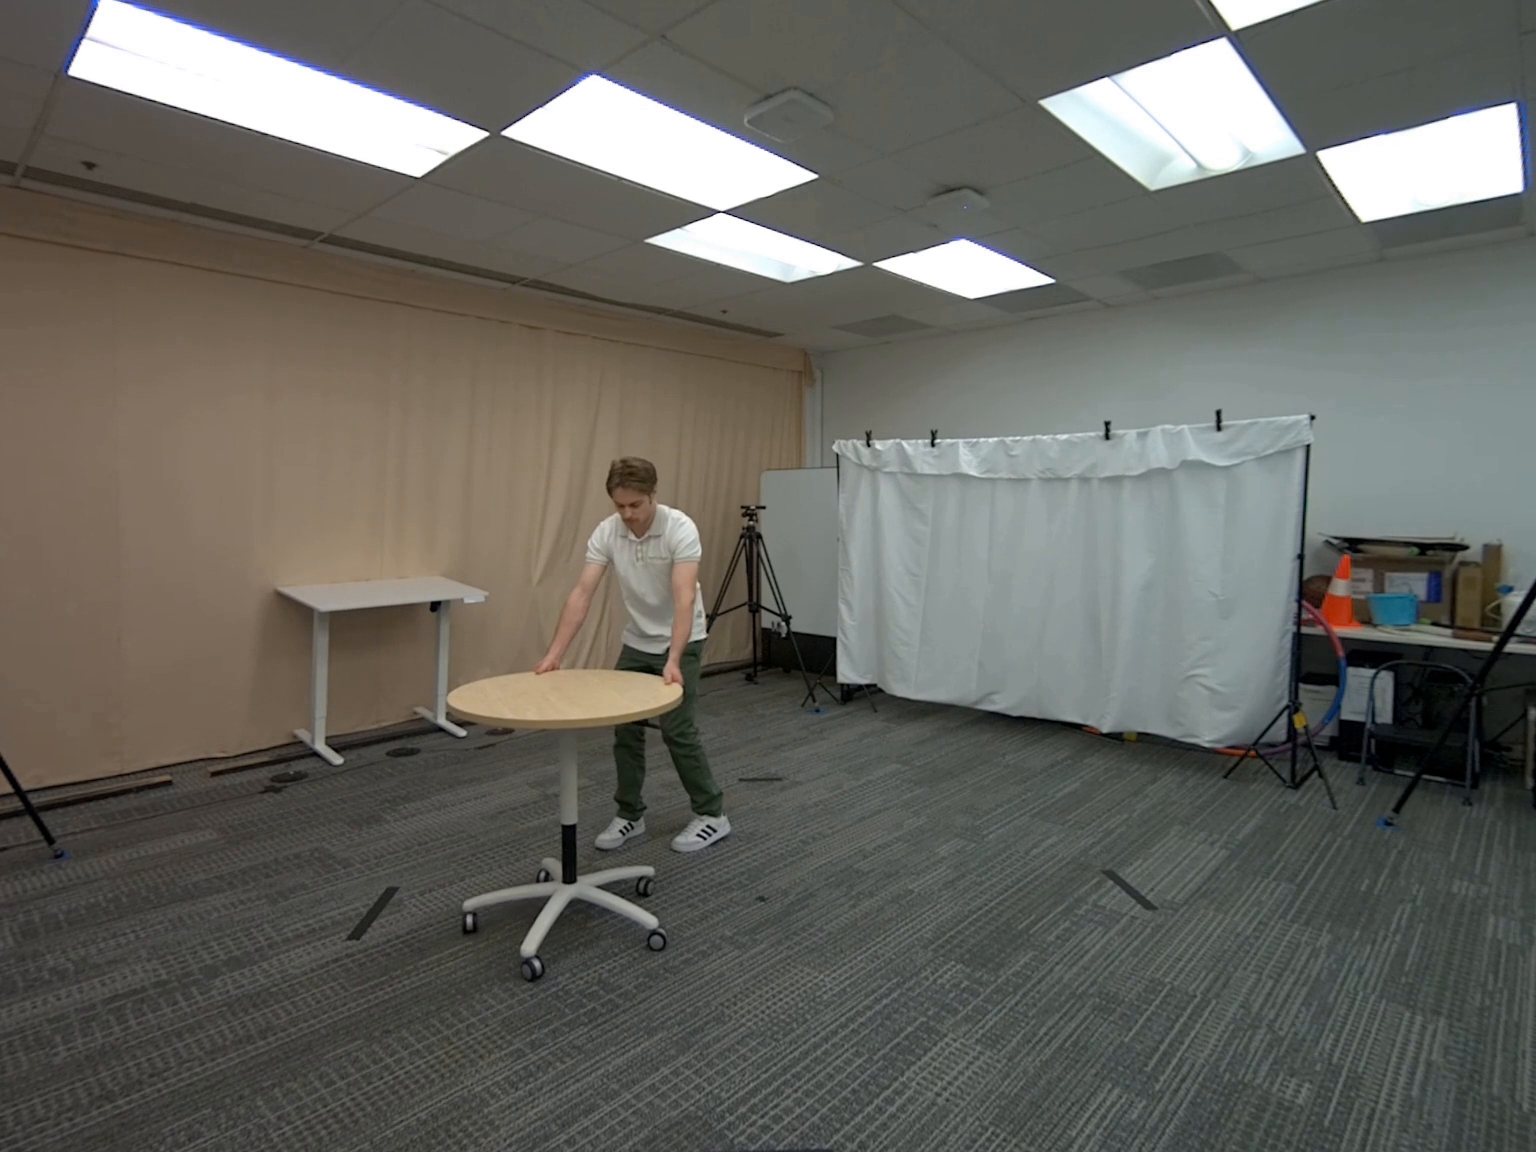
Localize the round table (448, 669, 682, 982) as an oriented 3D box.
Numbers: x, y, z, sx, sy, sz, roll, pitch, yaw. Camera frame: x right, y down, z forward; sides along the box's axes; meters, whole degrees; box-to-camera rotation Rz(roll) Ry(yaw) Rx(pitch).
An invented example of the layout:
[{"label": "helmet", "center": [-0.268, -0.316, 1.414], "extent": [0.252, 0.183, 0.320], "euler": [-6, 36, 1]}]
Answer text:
[{"label": "round table", "center": [-0.660, 0.767, 2.816], "extent": [0.784, 0.785, 0.788], "euler": [0, 3, -2]}]
